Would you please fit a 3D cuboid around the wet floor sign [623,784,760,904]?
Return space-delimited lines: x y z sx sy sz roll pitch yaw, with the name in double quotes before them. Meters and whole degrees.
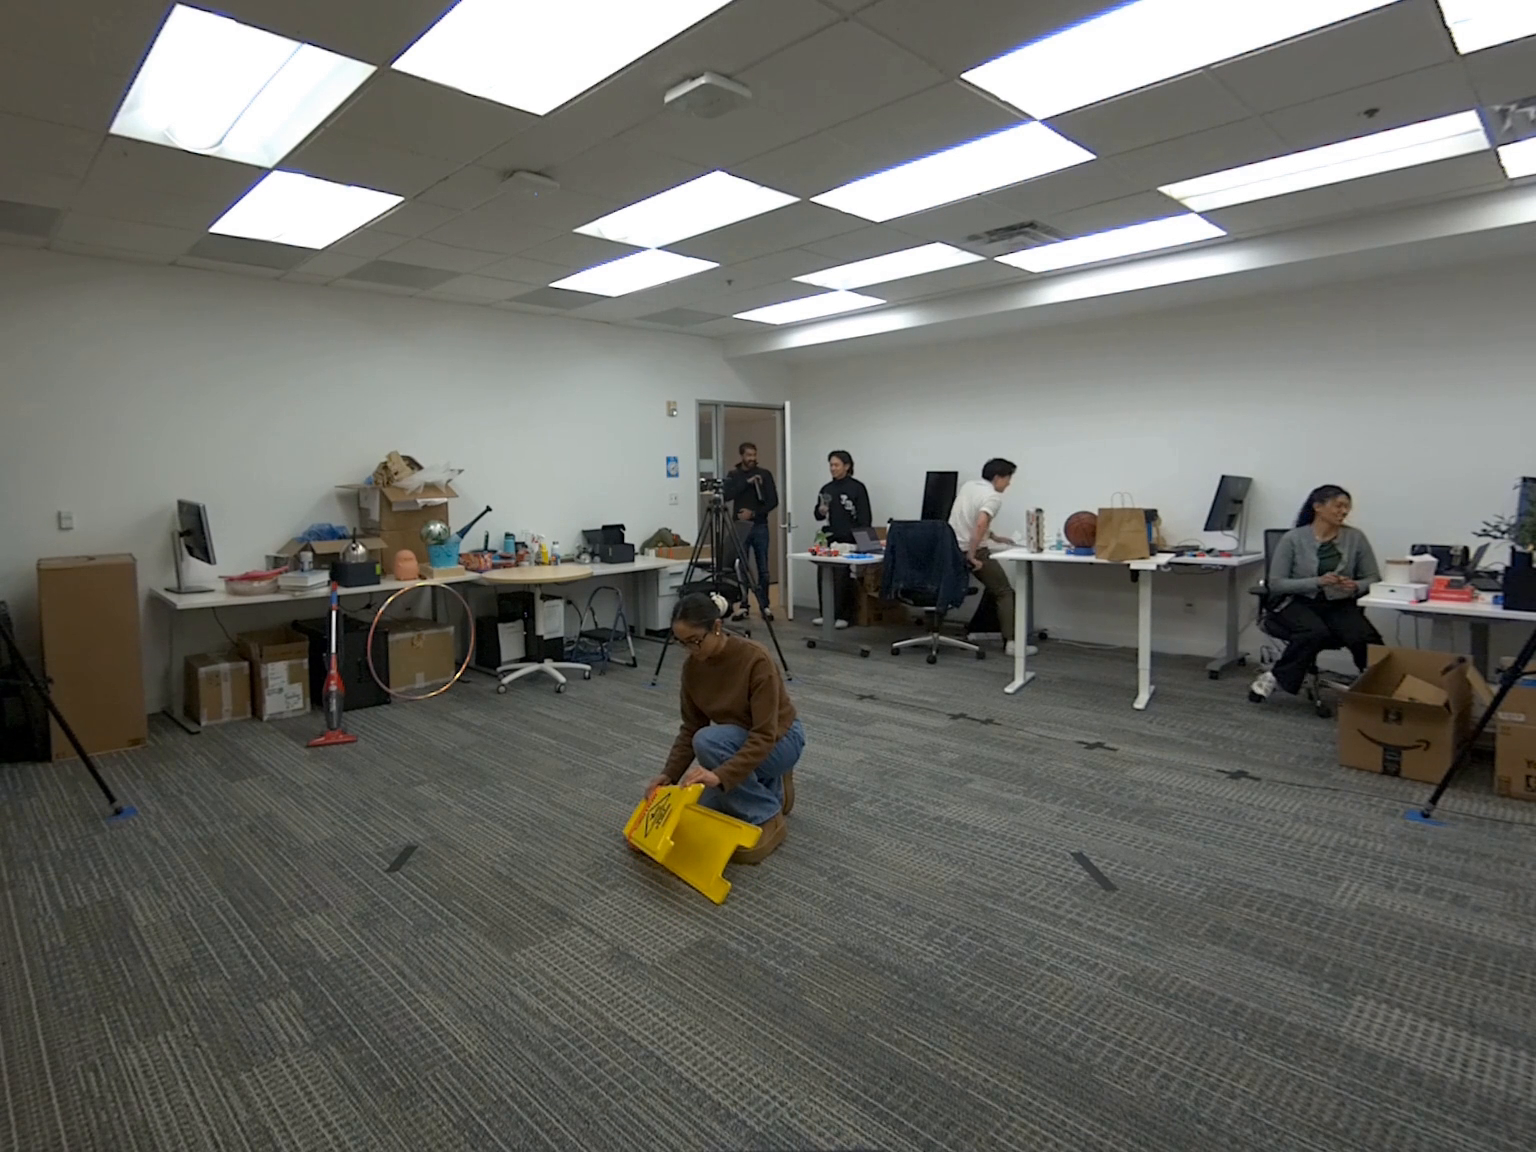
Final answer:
"wet floor sign" -0.349 0.910 3.086 0.283 0.283 0.659 42 -23 -20
